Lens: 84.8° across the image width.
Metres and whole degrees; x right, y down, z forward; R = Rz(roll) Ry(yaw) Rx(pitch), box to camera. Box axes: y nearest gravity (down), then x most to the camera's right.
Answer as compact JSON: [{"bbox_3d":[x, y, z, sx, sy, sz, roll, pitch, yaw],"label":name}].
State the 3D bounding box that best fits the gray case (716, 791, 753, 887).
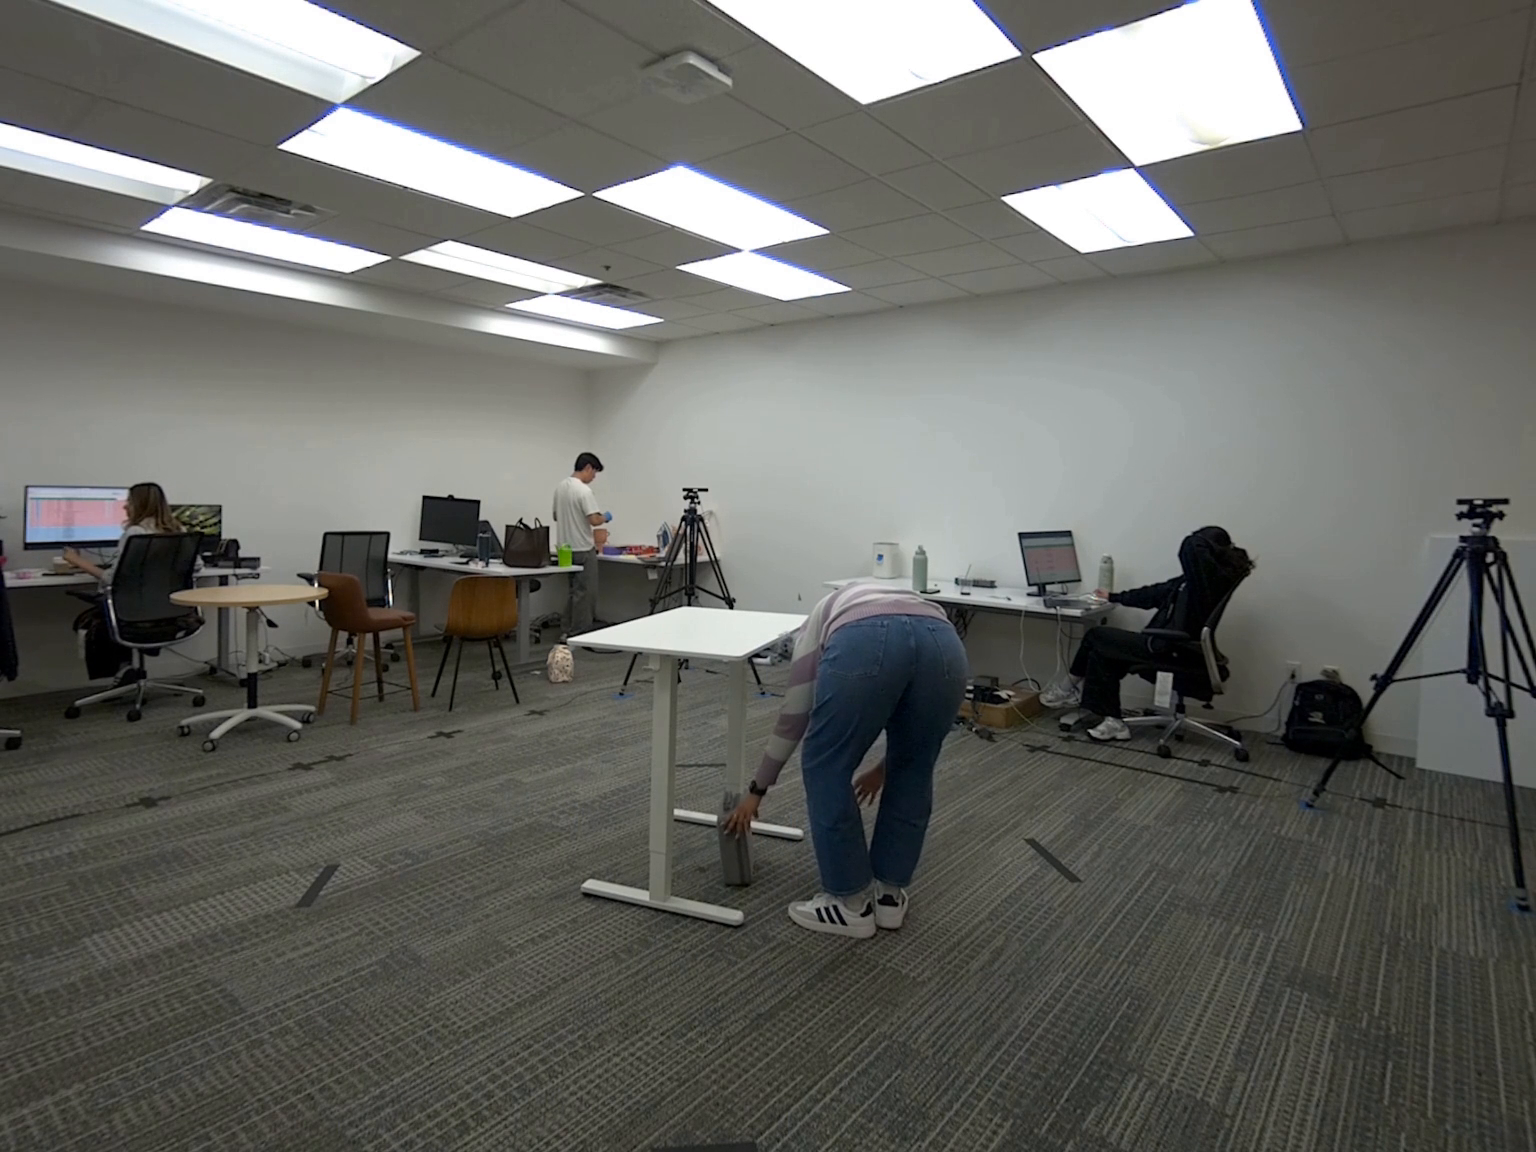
[{"bbox_3d":[-0.127,0.941,3.069,0.104,0.260,0.257,-6,3,0],"label":"gray case"}]
